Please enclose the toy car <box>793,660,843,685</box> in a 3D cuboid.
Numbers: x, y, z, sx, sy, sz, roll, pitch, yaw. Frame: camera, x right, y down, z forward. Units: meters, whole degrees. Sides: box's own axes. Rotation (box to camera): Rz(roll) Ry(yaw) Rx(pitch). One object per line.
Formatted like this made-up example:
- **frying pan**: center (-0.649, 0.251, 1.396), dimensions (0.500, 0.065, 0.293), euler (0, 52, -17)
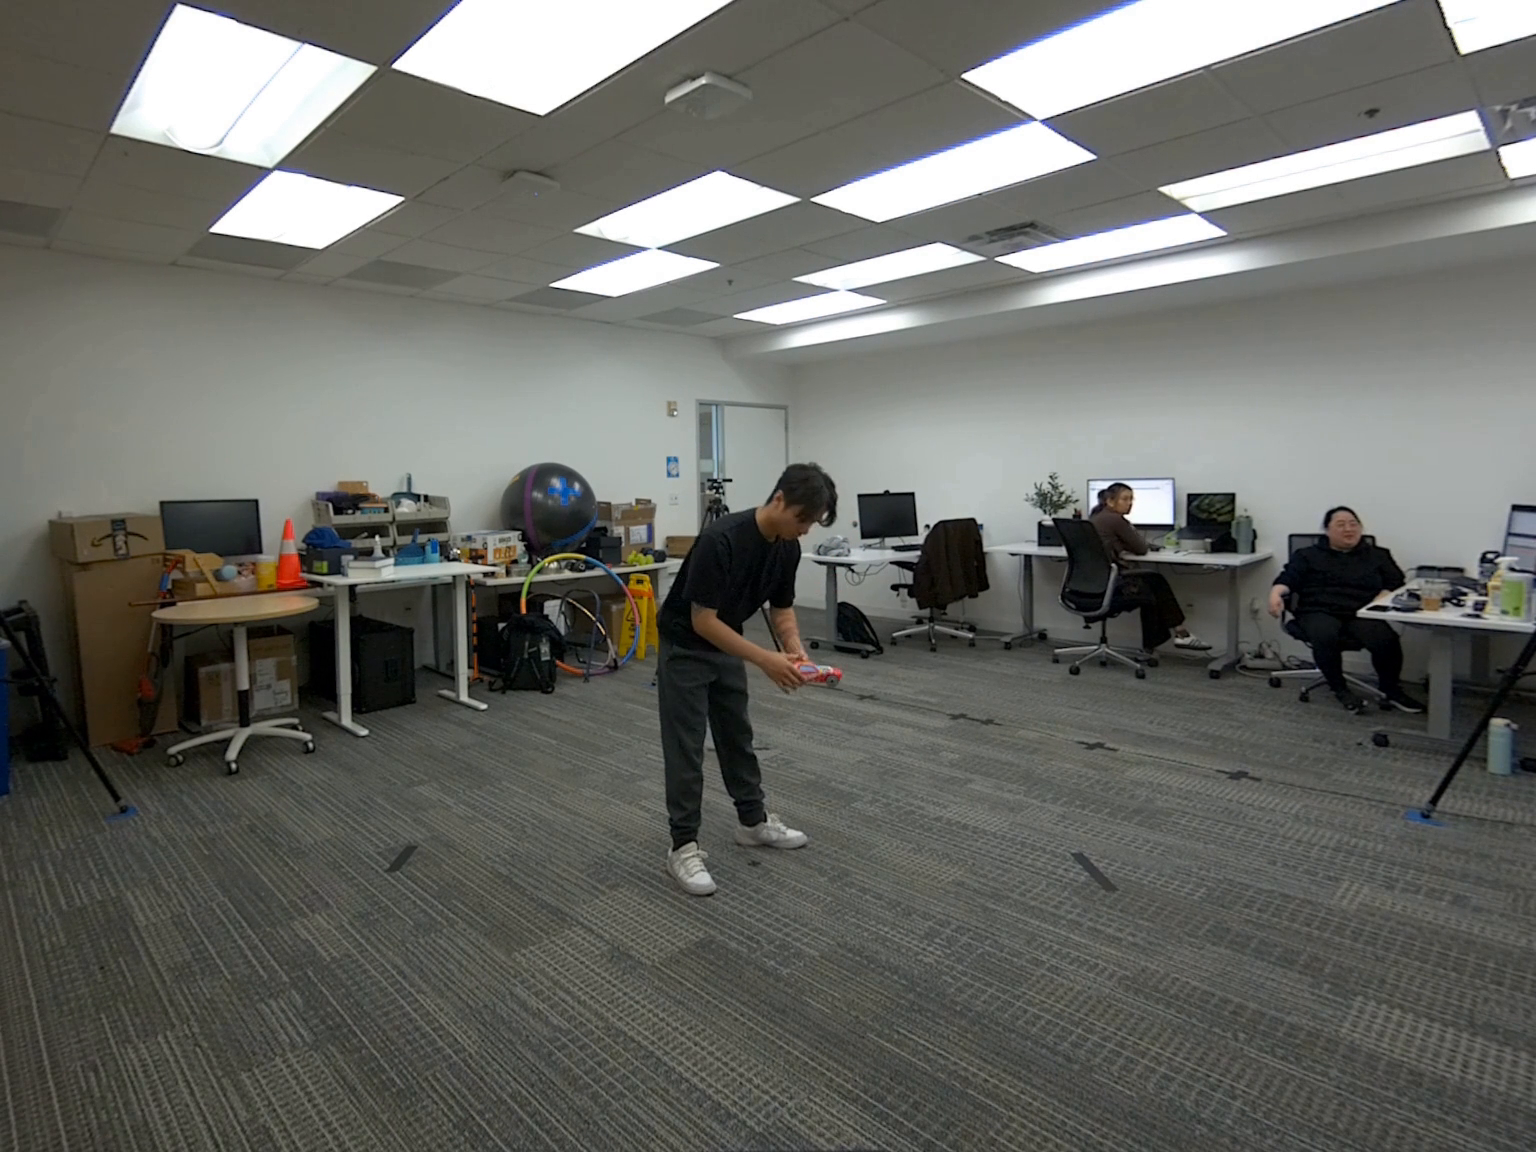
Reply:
- **toy car**: center (0.114, 0.327, 2.876), dimensions (0.255, 0.083, 0.130), euler (10, 3, 2)
